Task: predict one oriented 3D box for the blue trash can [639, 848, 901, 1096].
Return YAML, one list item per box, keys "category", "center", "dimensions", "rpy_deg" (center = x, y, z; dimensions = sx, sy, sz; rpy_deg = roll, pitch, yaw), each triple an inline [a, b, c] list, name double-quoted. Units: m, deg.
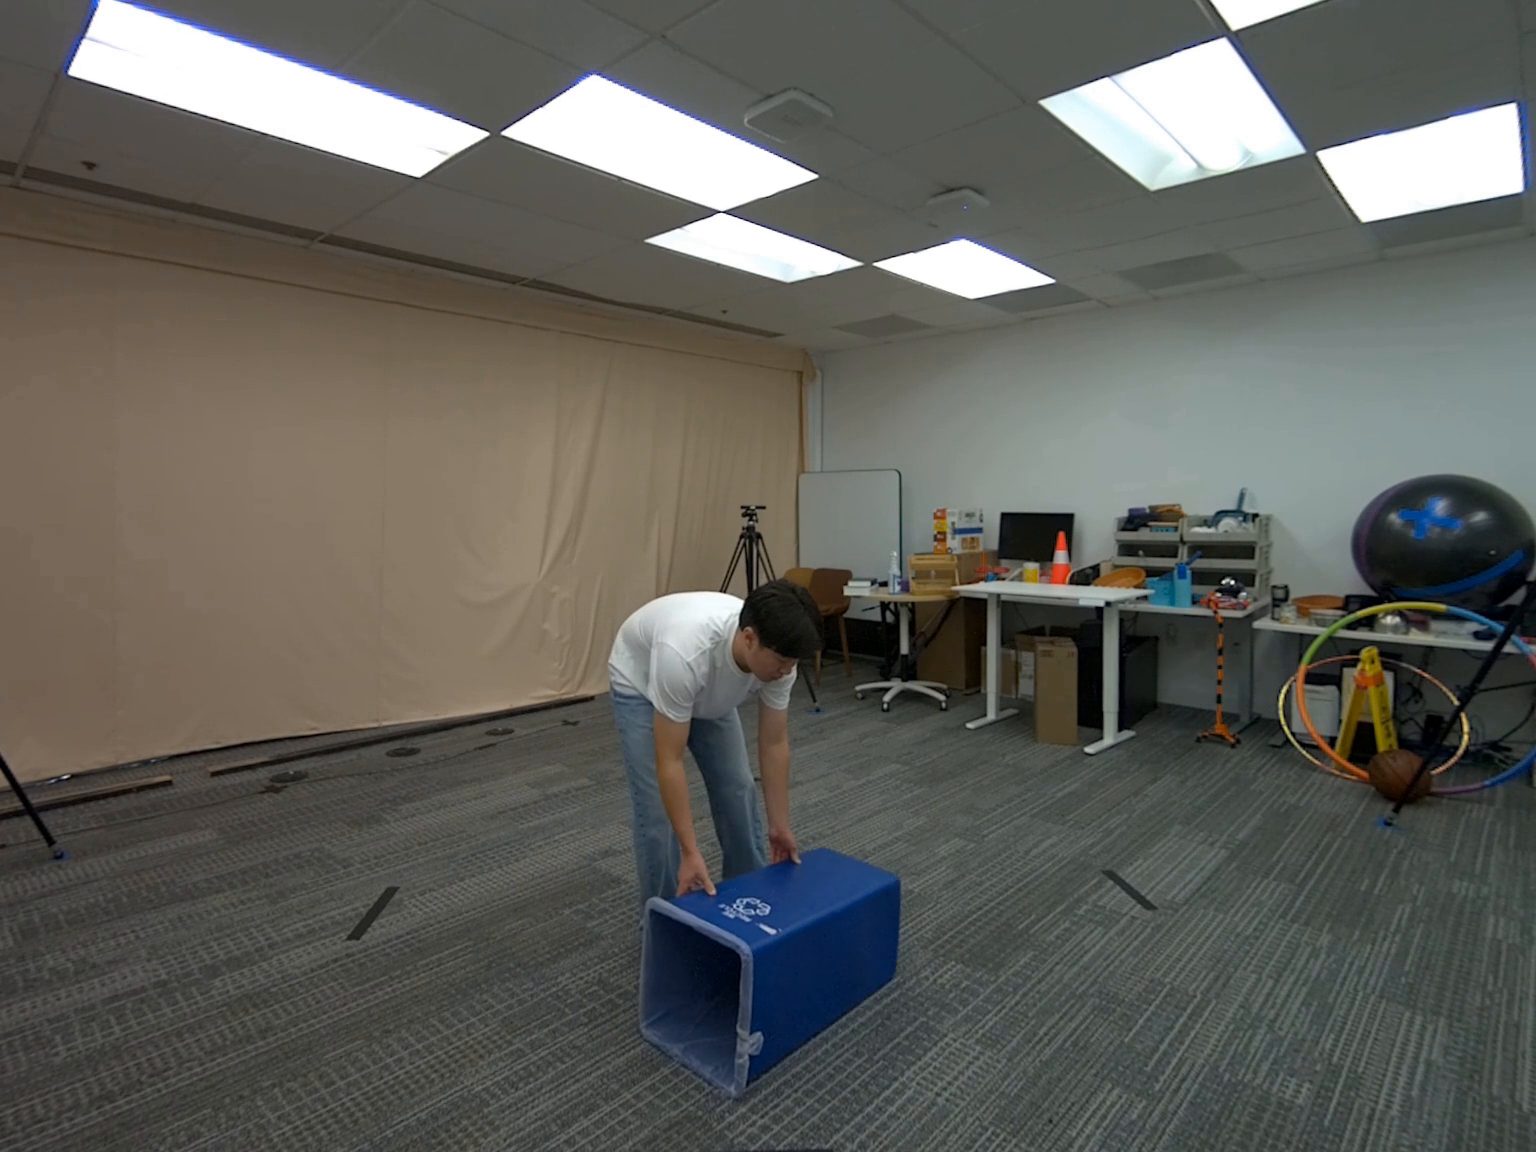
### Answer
- category: "blue trash can"
  center: [0.047, 1.031, 2.331]
  dimensions: [0.386, 0.378, 0.691]
  rpy_deg: [4, 3, 43]
